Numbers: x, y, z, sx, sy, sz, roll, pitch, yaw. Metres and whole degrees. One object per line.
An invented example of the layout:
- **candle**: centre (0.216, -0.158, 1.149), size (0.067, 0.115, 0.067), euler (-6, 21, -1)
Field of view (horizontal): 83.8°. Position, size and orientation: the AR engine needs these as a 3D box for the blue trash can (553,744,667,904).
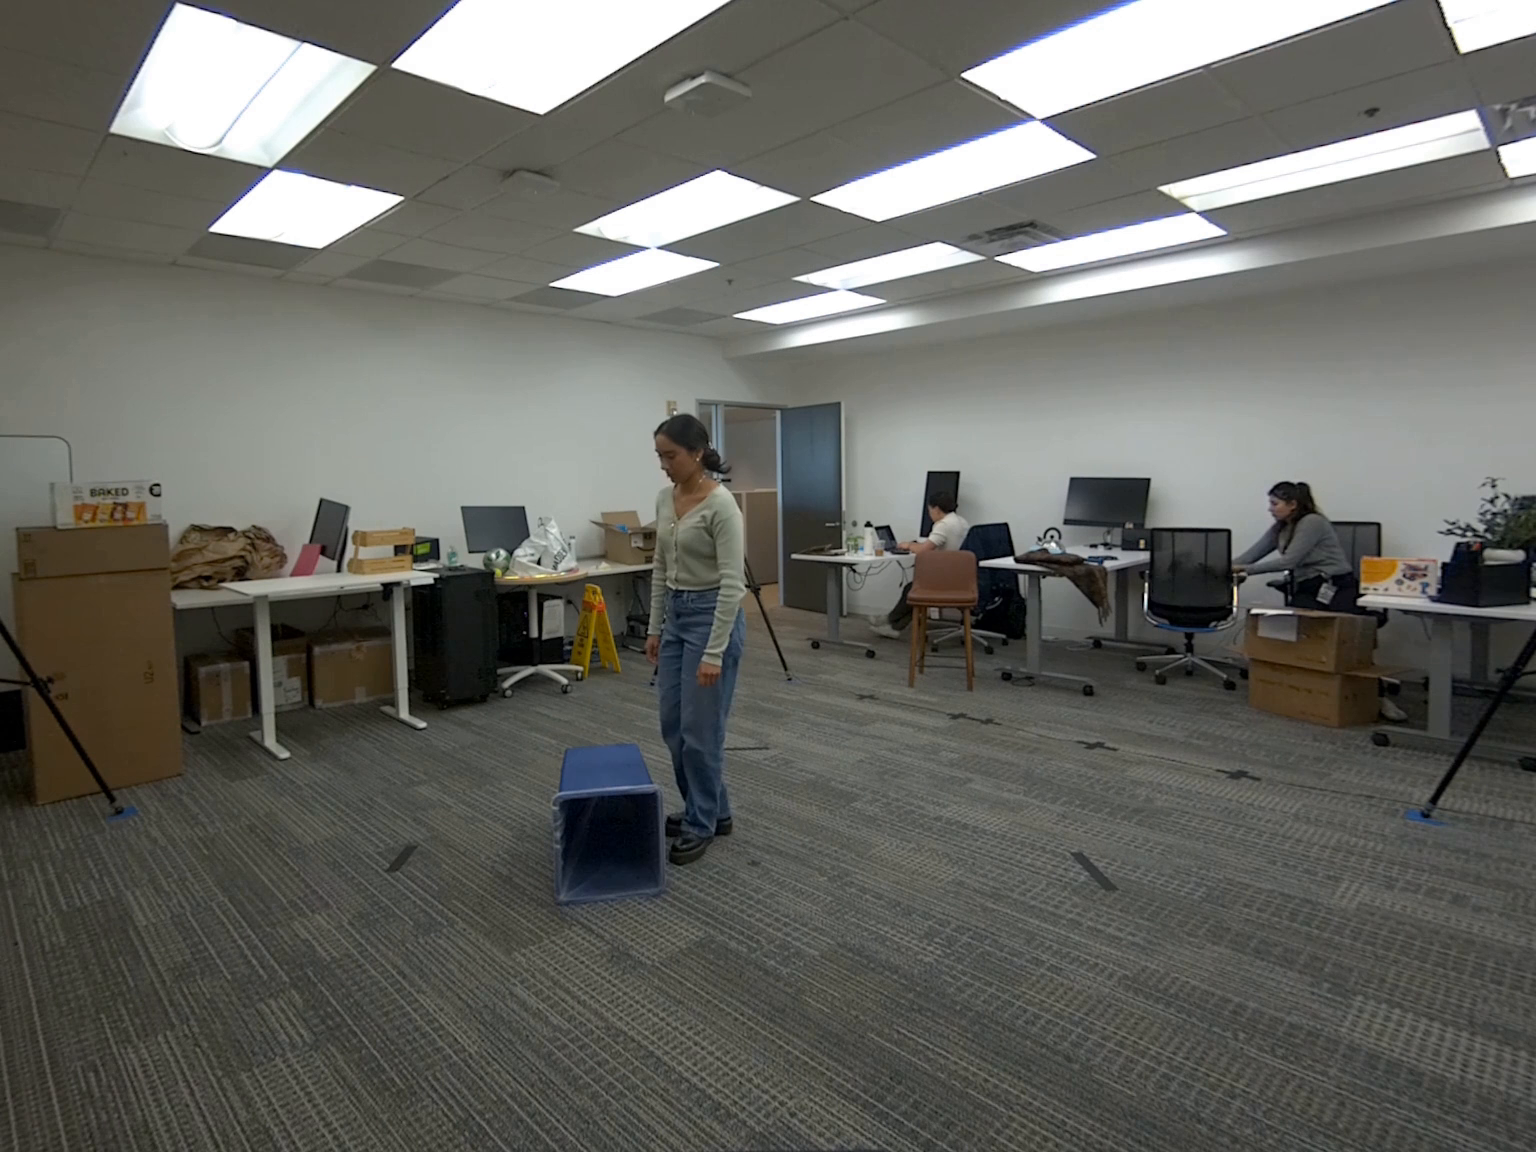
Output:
- **blue trash can**: centre (-0.601, 0.866, 3.189), size (0.370, 0.377, 0.722), euler (-1, 4, -11)
